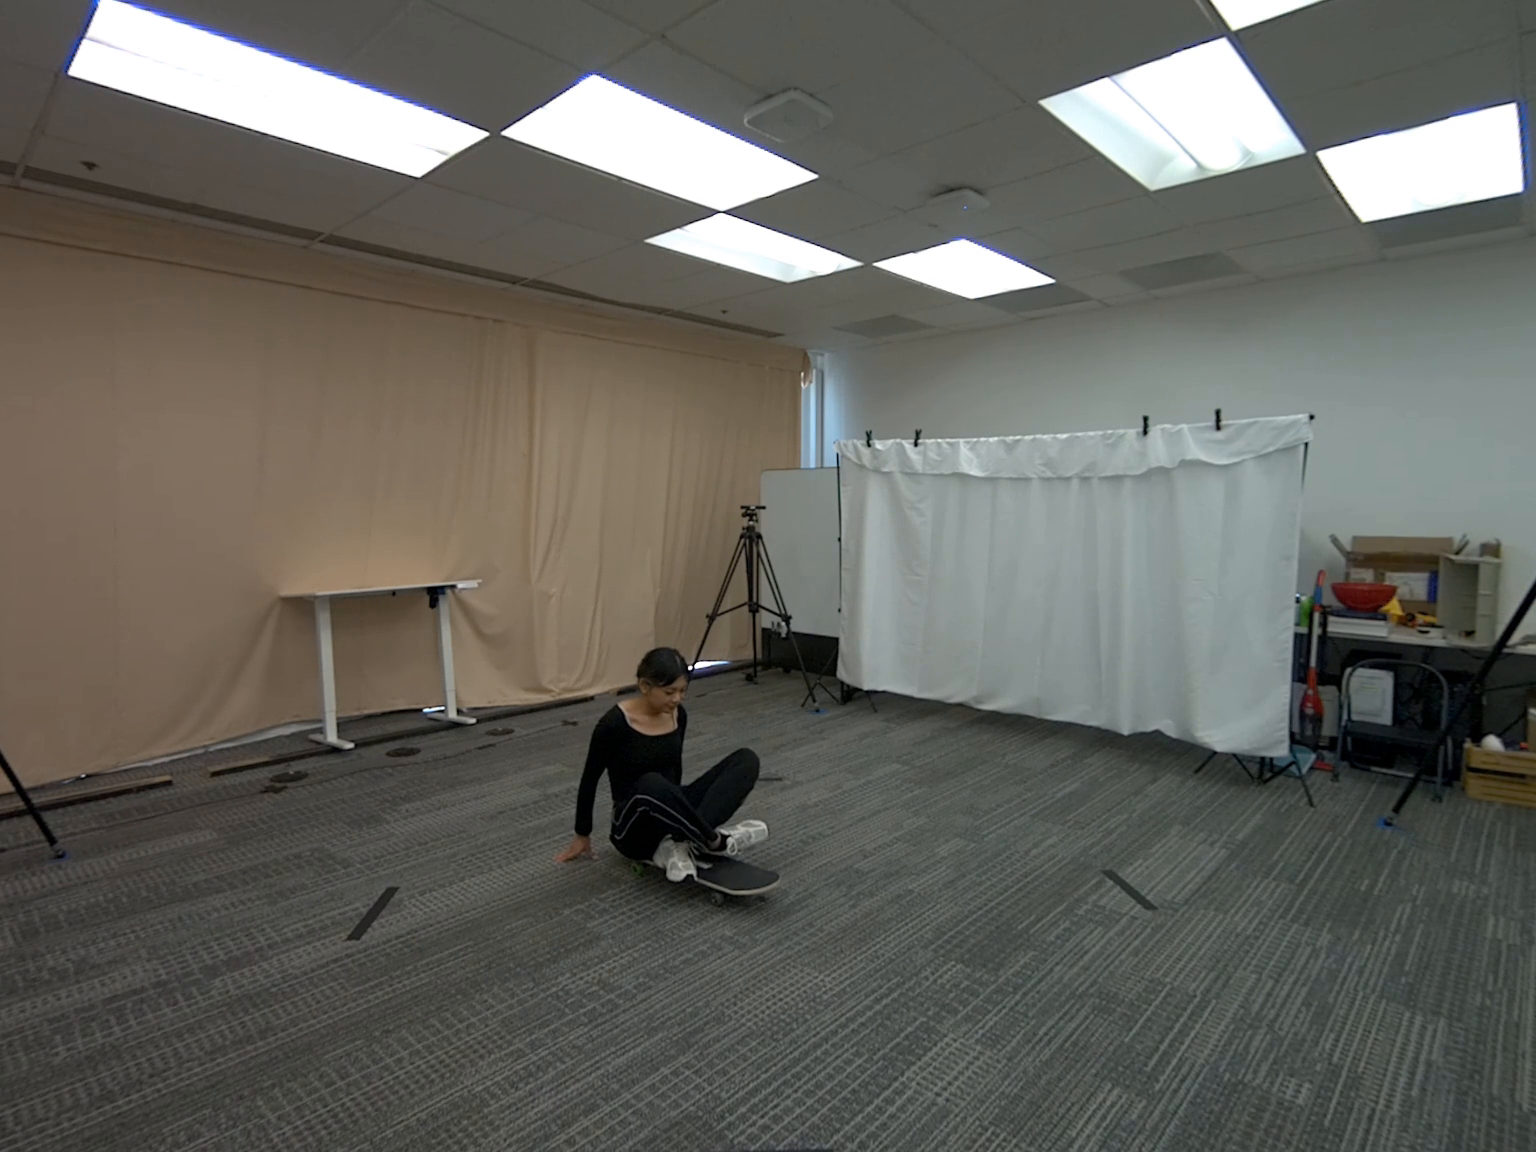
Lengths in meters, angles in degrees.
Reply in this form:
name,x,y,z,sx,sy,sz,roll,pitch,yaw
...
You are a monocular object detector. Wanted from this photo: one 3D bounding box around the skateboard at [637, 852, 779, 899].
name,x,y,z,sx,sy,sz,roll,pitch,yaw
skateboard,-0.281,1.075,3.116,0.810,0.110,0.188,2,8,37
